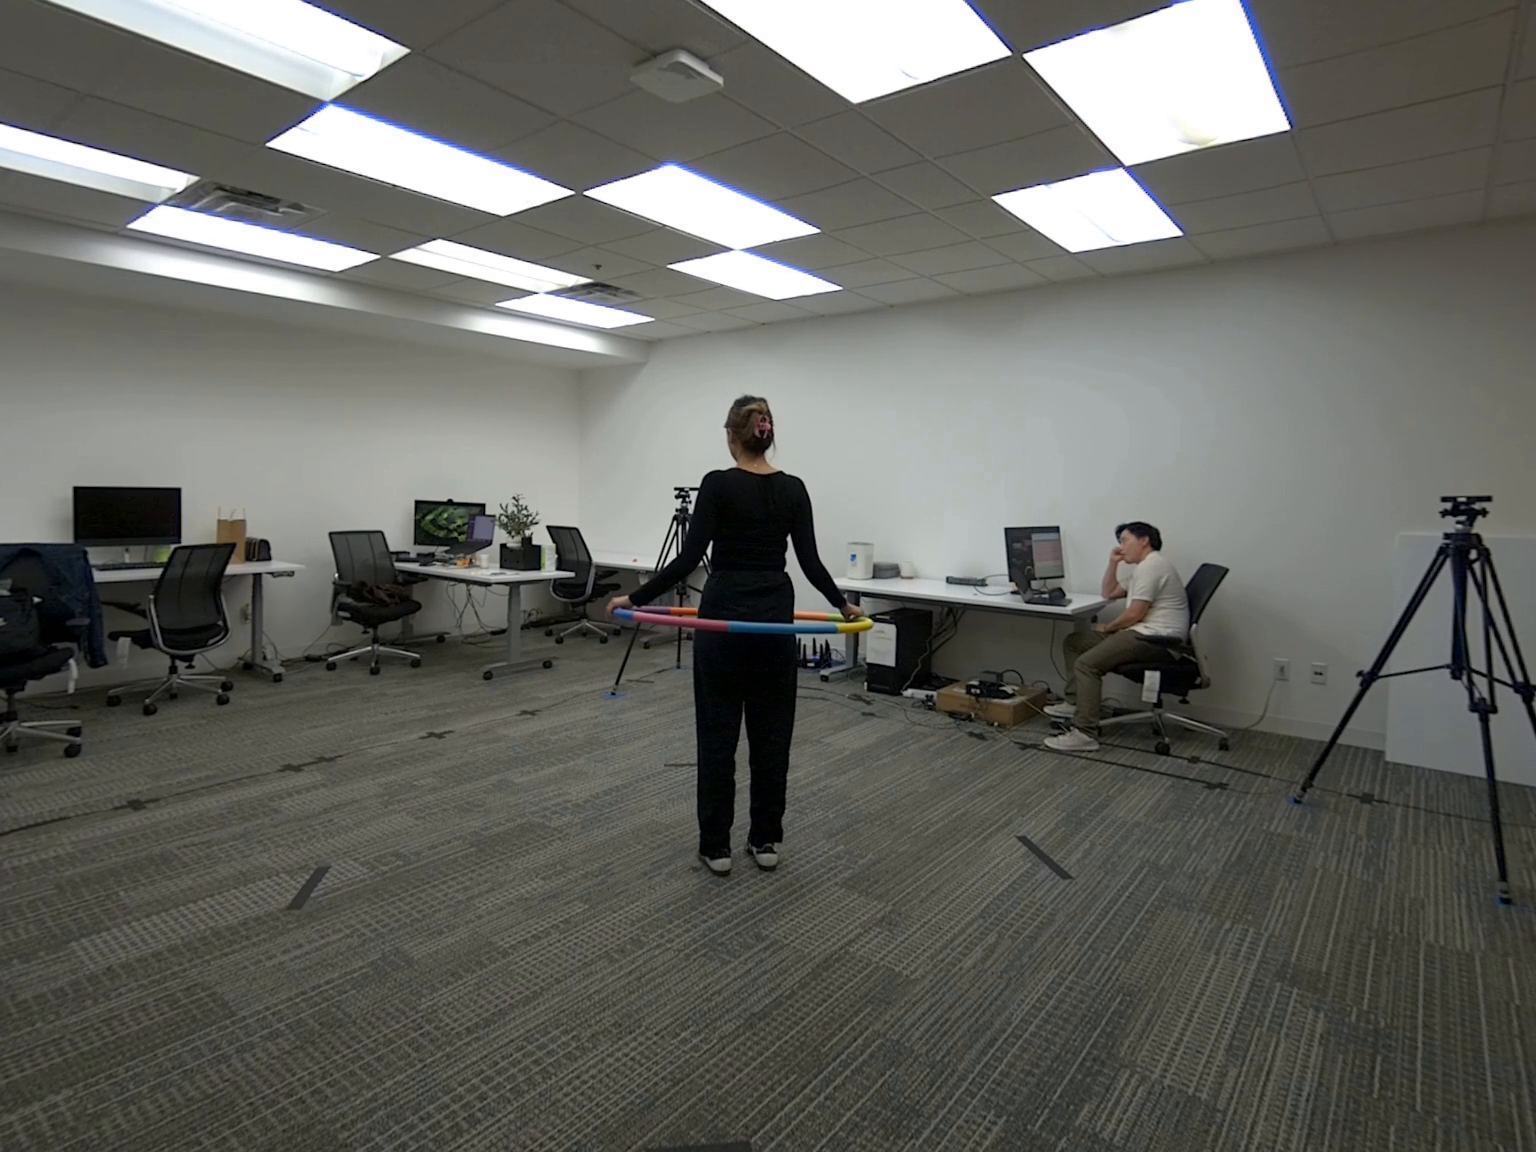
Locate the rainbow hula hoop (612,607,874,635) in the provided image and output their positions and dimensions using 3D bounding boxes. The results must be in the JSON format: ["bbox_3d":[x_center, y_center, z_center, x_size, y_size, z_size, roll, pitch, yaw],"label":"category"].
[{"bbox_3d":[-0.105,0.149,3.194,0.978,0.035,0.978,3,0,-2],"label":"rainbow hula hoop"}]
